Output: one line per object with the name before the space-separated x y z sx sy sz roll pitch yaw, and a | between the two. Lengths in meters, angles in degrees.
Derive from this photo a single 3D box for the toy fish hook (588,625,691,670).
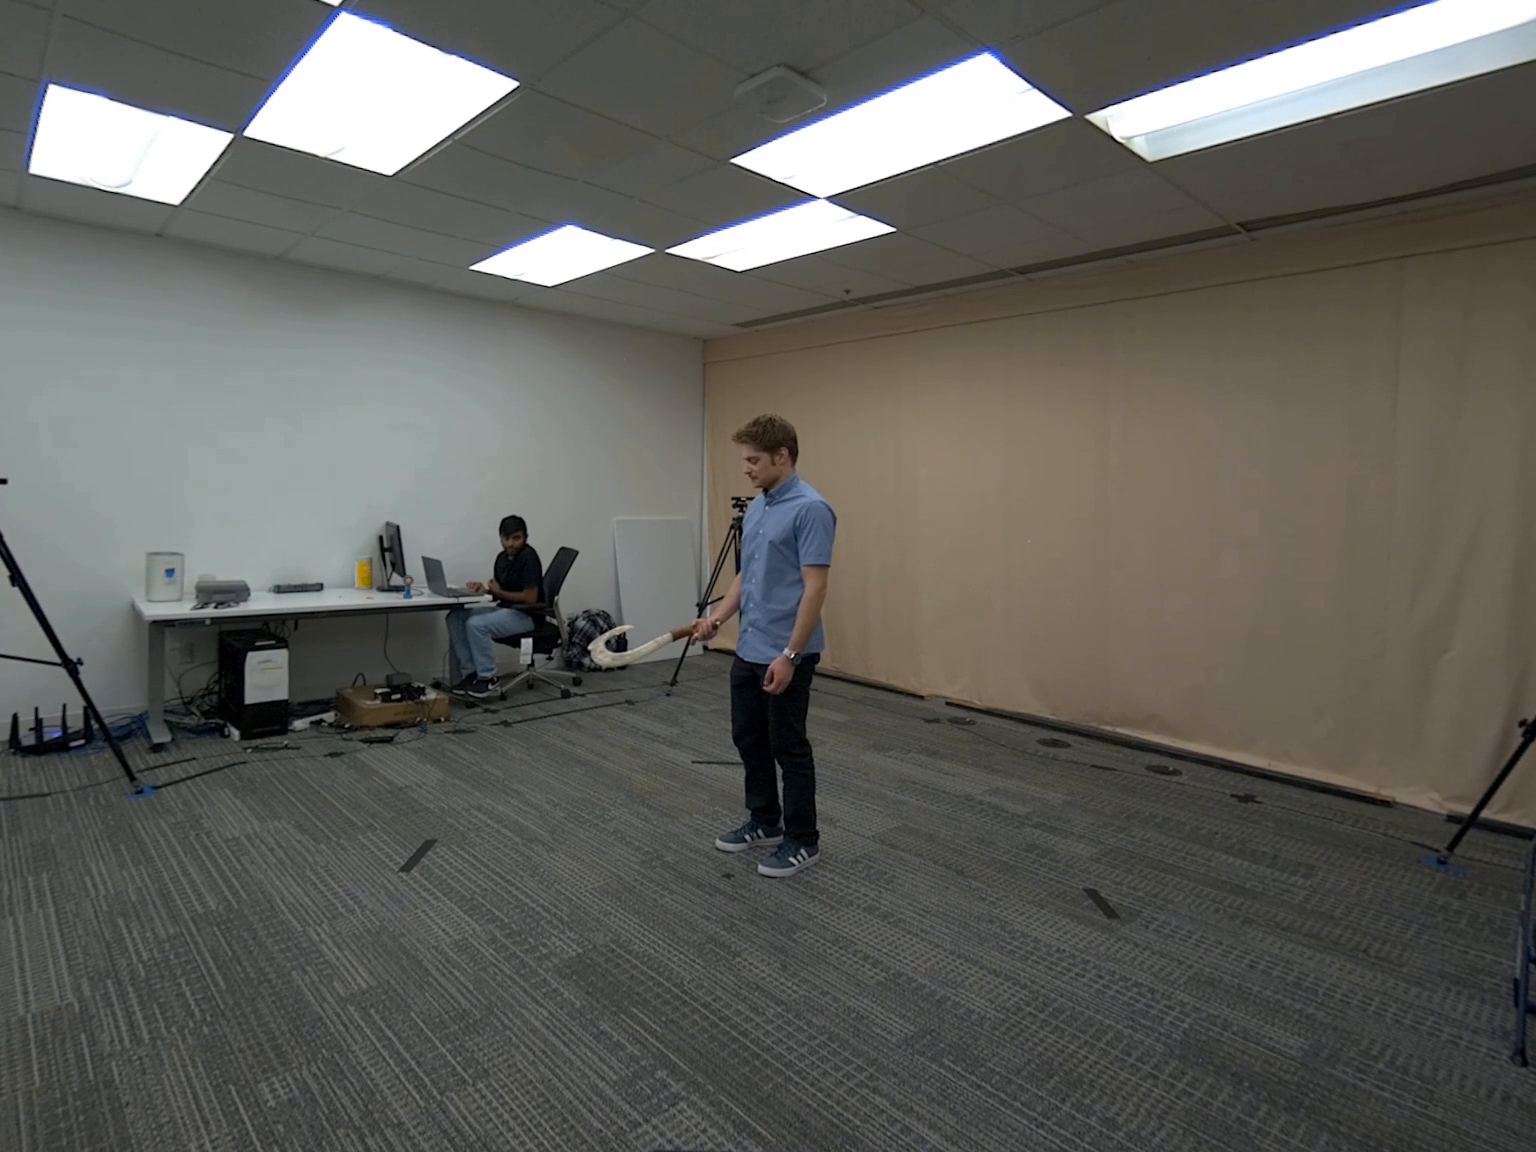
toy fish hook | -0.440 0.225 3.228 0.502 0.047 0.231 -16 38 -15
